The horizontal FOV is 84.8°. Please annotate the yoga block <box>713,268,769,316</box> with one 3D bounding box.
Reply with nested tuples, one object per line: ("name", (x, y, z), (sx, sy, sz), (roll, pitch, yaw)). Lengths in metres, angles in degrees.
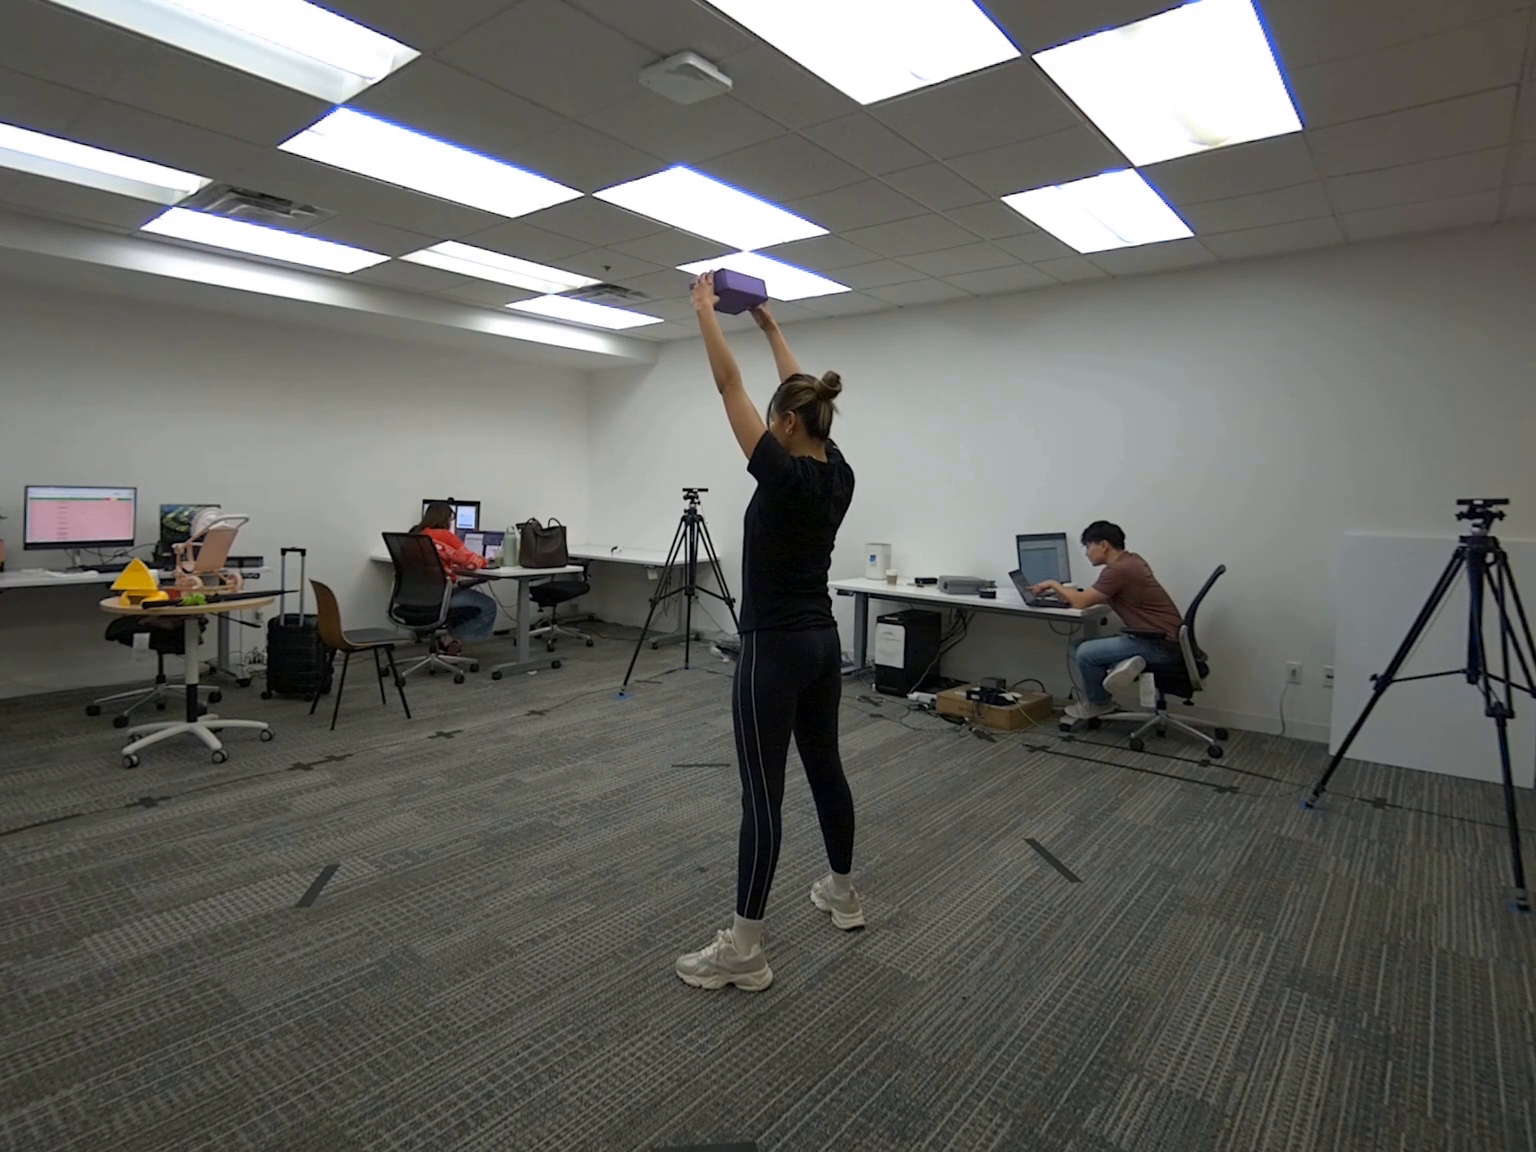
("yoga block", (-0.132, -0.898, 2.677), (0.152, 0.077, 0.223), (-13, -1, 40))
